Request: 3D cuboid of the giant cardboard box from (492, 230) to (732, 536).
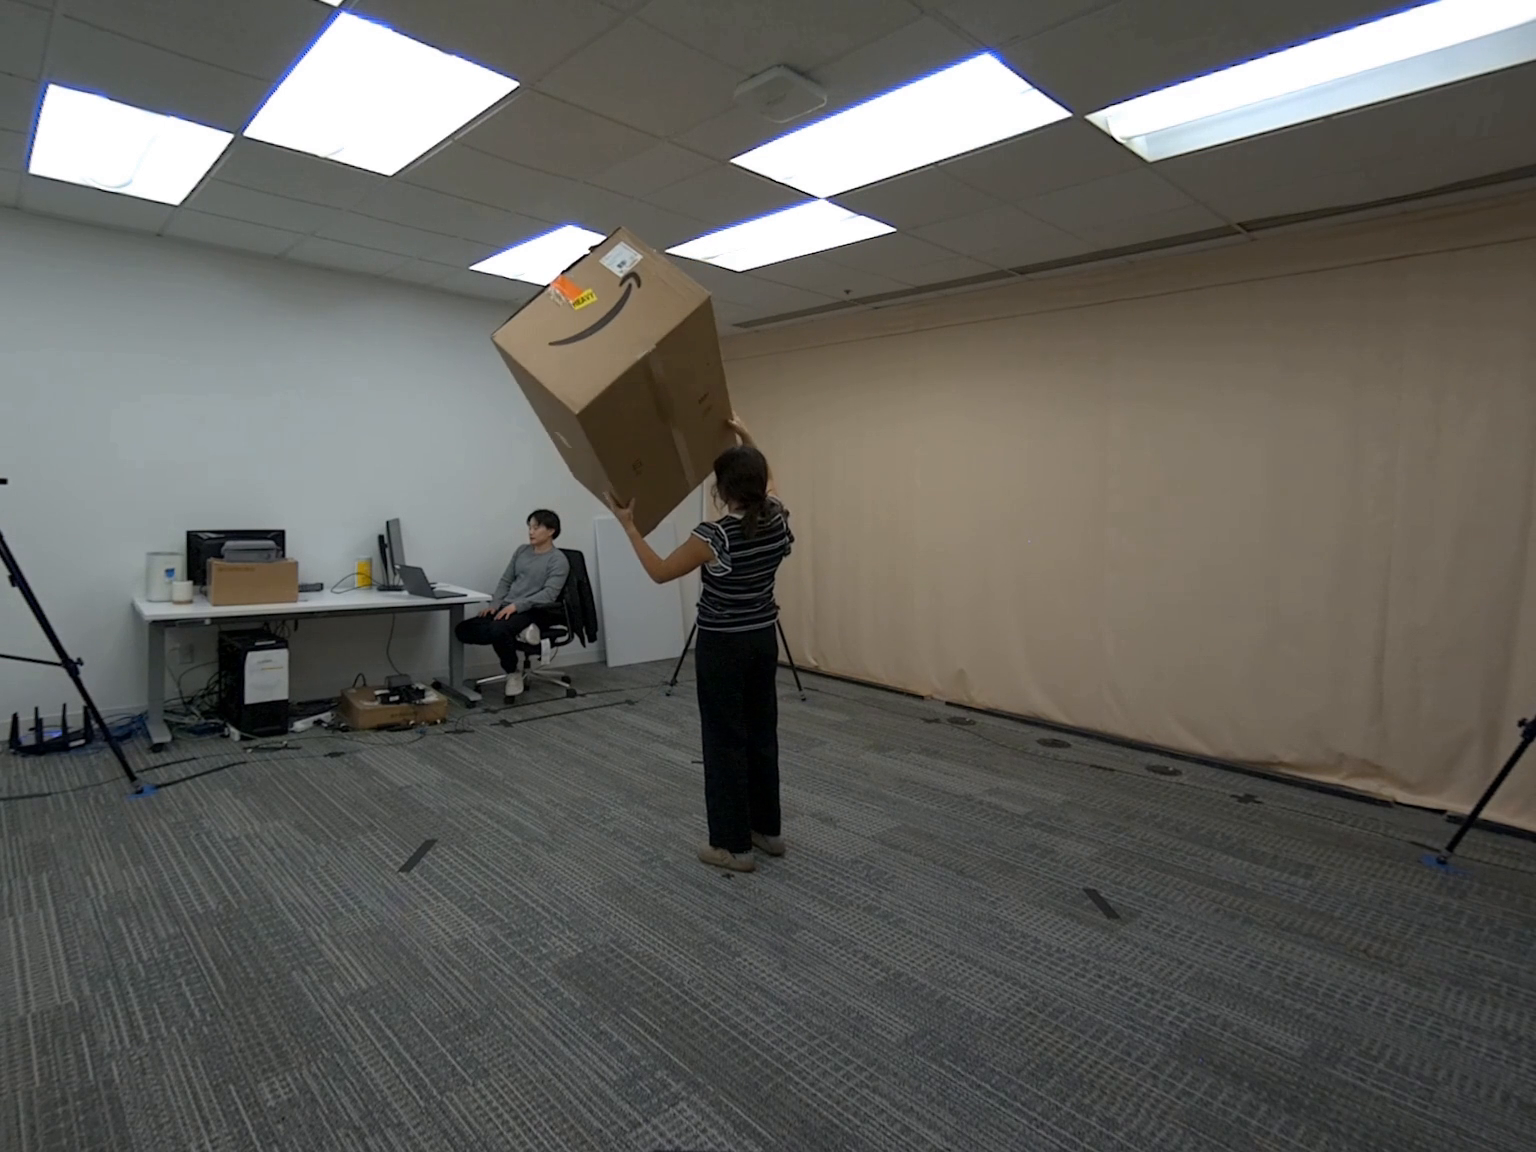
[{"bbox_3d":[-0.496,-0.643,3.088,0.434,0.577,1.008,42,-13,16],"label":"giant cardboard box"}]
